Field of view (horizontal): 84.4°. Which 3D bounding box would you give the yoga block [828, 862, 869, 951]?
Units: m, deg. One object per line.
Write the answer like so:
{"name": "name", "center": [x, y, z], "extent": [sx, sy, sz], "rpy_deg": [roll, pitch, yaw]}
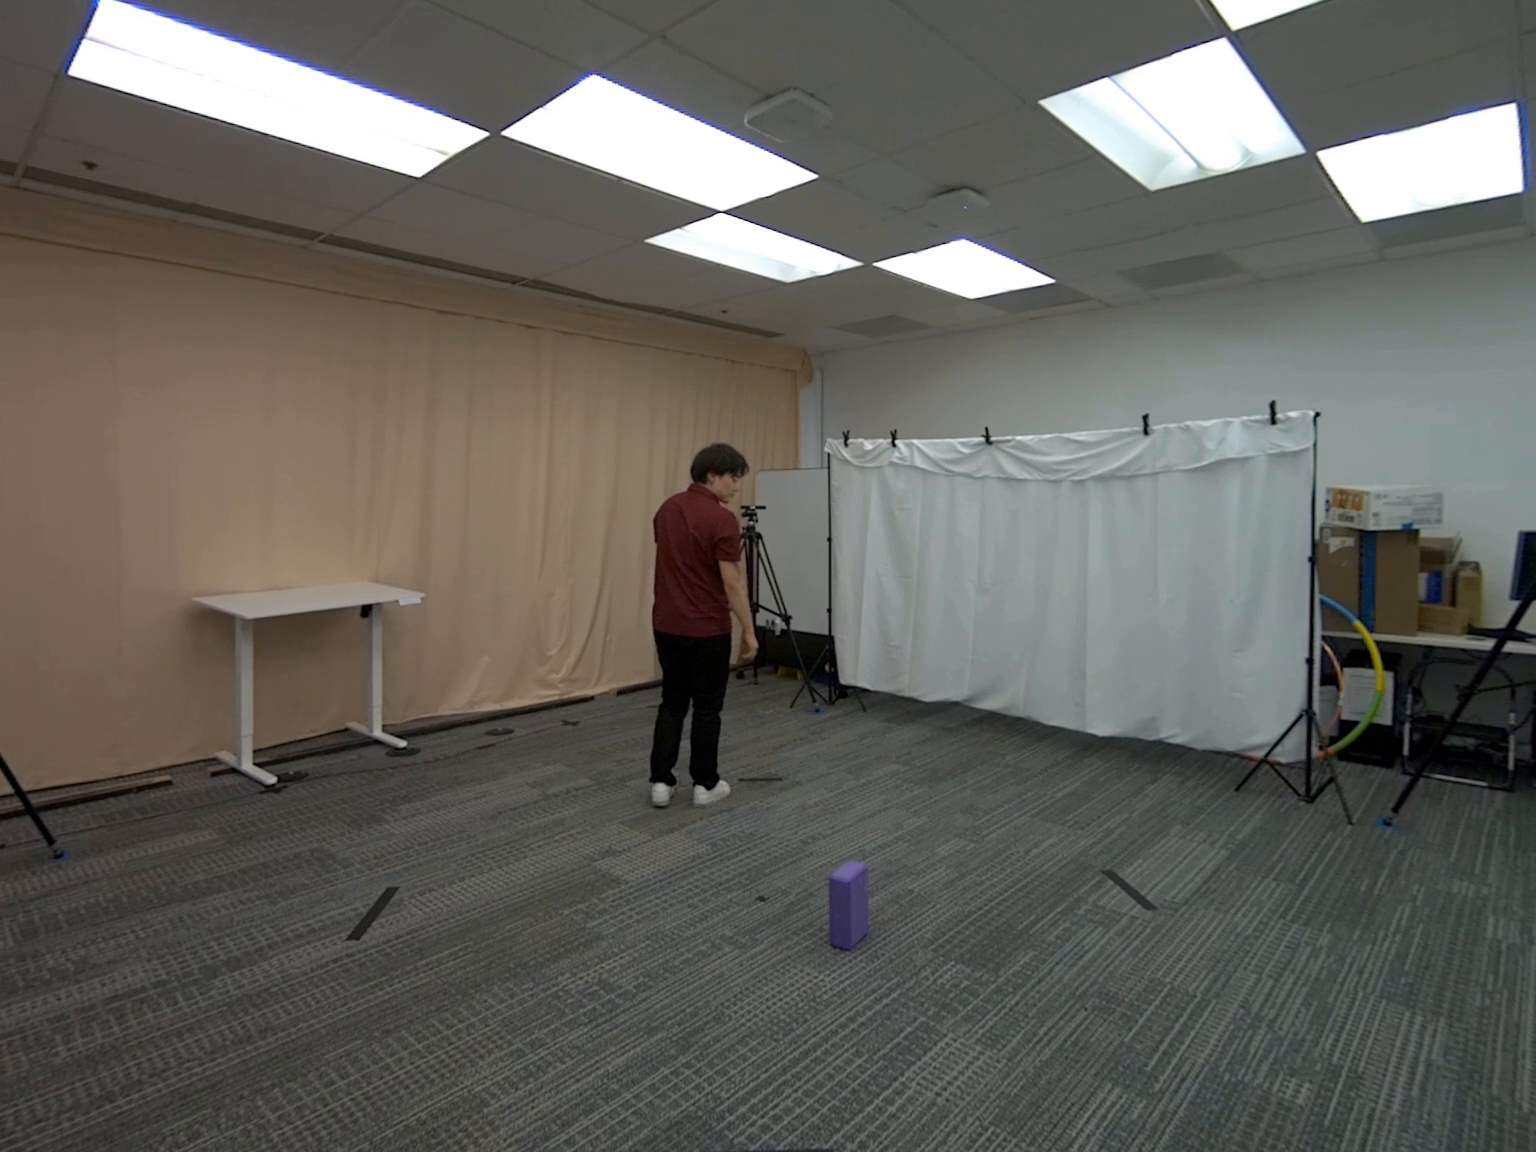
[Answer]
{"name": "yoga block", "center": [0.266, 1.052, 2.693], "extent": [0.079, 0.229, 0.145], "rpy_deg": [2, 4, 32]}
